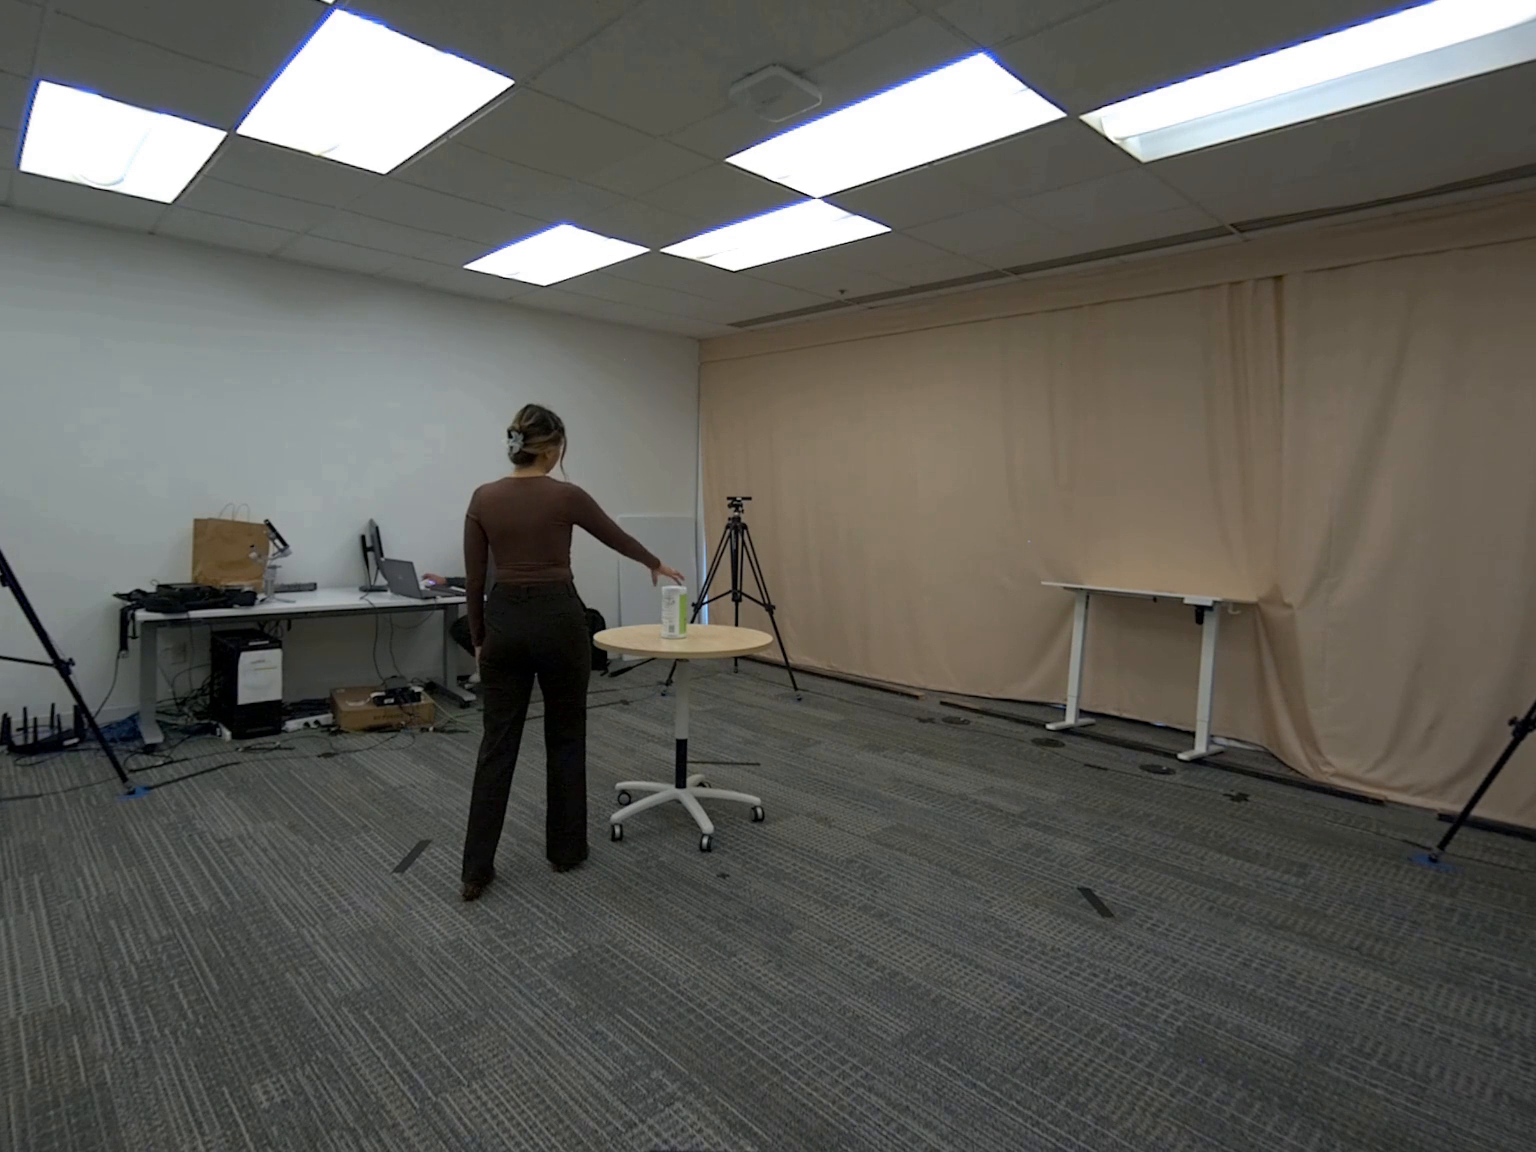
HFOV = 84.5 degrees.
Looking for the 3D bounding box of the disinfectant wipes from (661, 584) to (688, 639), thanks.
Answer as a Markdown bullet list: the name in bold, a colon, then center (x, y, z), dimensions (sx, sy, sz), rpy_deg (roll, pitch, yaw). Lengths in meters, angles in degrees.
- **disinfectant wipes**: center (-0.410, 0.156, 3.577), dimensions (0.118, 0.217, 0.118), rpy_deg (3, 3, -2)
